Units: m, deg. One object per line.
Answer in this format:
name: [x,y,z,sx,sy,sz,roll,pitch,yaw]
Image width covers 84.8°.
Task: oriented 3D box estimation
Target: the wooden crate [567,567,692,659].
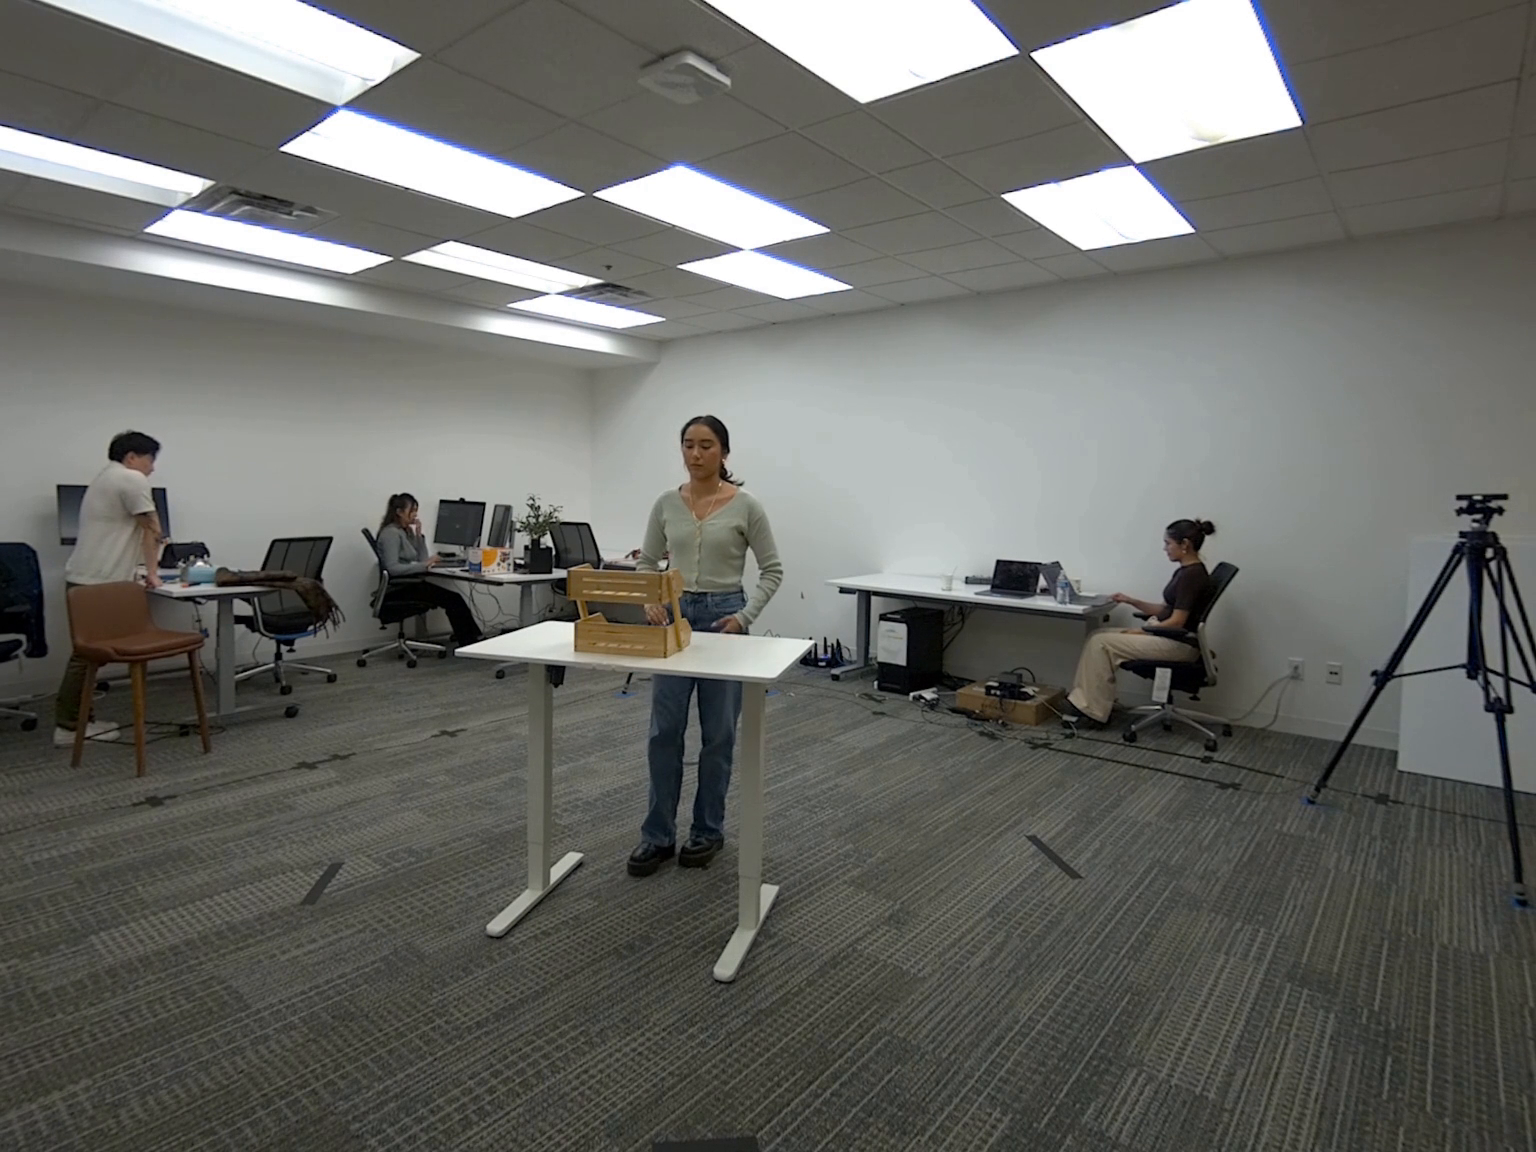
wooden crate: [-0.436,0.094,2.656,0.329,0.272,0.299,2,5,13]
